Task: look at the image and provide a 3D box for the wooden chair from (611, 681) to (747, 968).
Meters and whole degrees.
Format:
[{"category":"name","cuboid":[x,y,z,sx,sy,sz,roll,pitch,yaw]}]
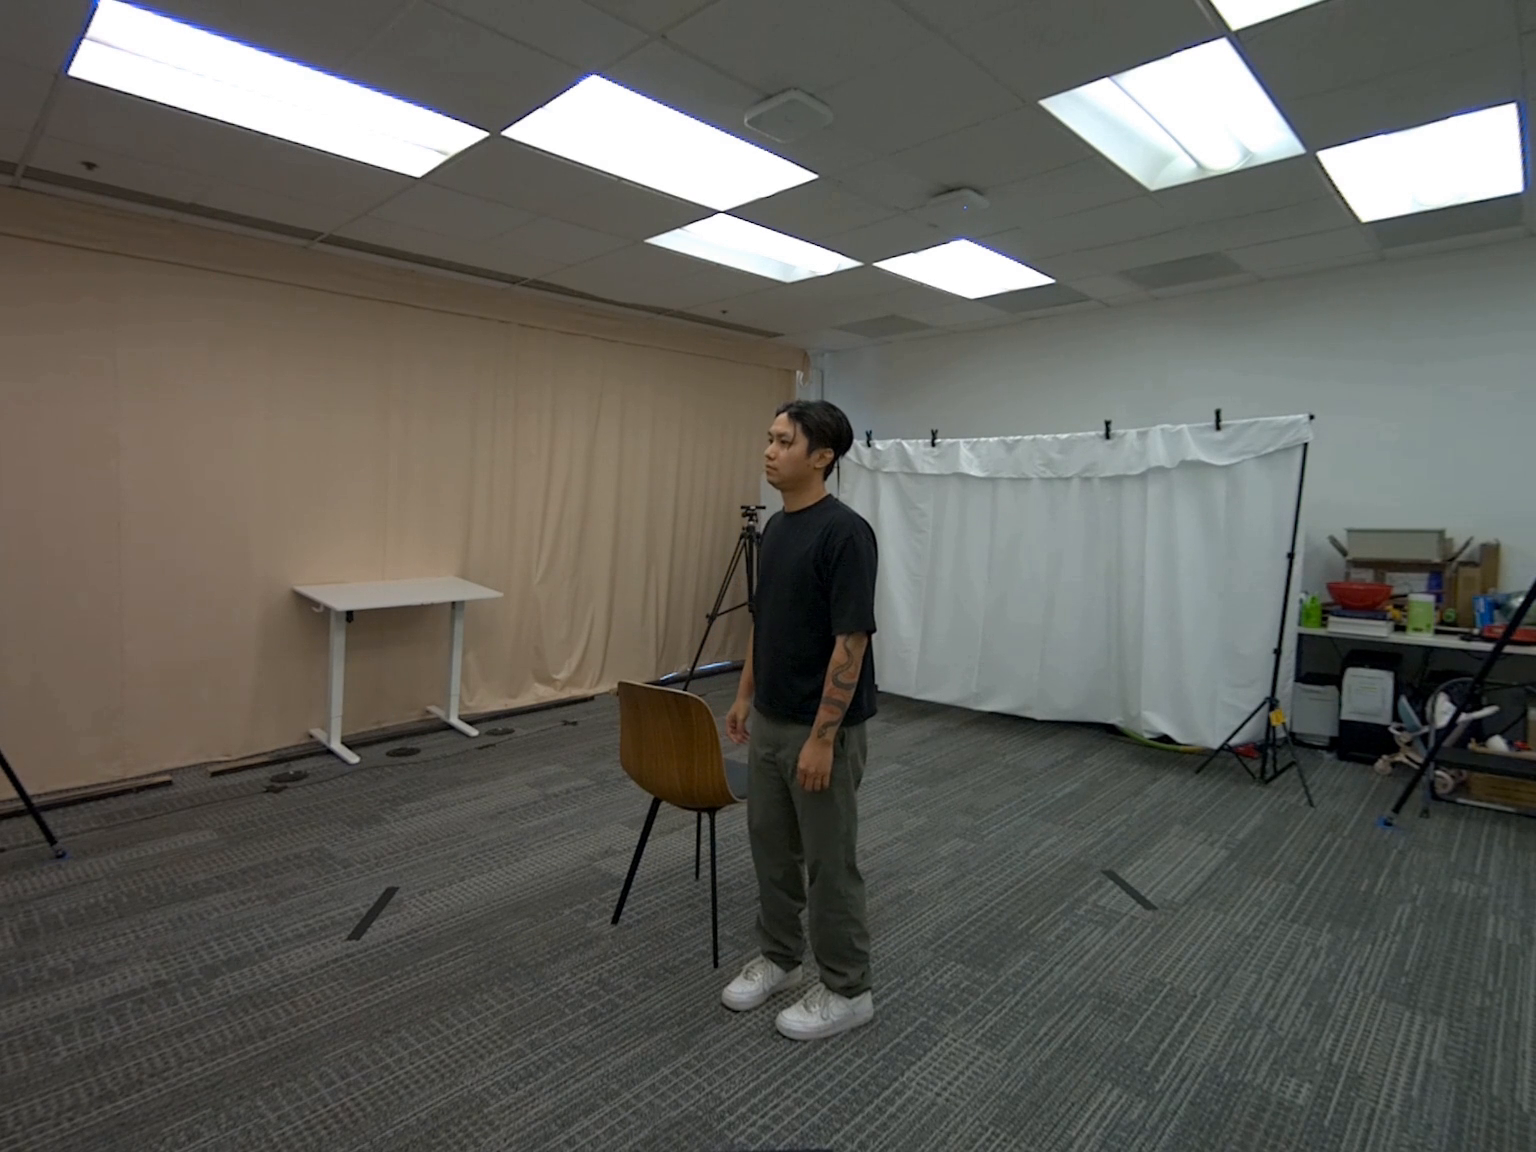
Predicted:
[{"category":"wooden chair","cuboid":[-0.208,0.731,2.828,0.493,0.873,0.509,2,8,36]}]
